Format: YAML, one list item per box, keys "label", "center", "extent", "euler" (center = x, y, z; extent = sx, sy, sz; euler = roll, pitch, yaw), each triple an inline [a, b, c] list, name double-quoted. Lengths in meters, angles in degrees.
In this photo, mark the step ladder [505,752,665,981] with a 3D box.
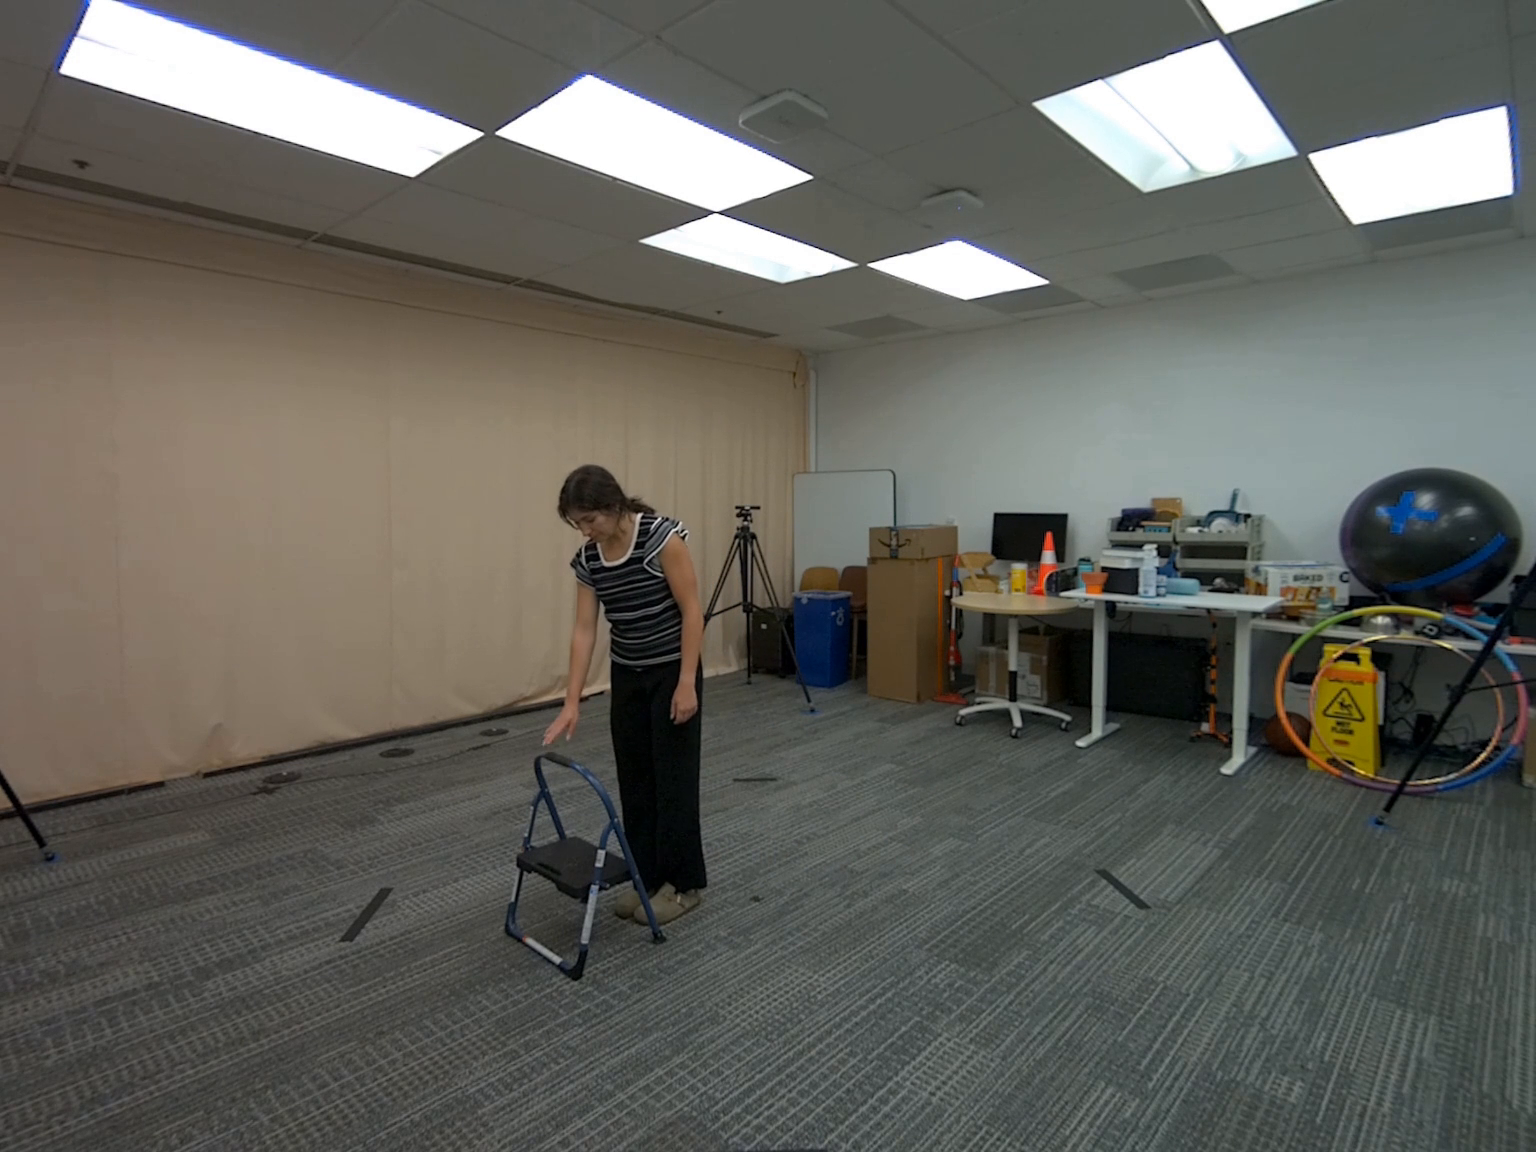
- label: "step ladder"
  center: [-0.605, 0.870, 2.714]
  extent: [0.445, 0.605, 0.338]
  euler: [3, 4, 43]
